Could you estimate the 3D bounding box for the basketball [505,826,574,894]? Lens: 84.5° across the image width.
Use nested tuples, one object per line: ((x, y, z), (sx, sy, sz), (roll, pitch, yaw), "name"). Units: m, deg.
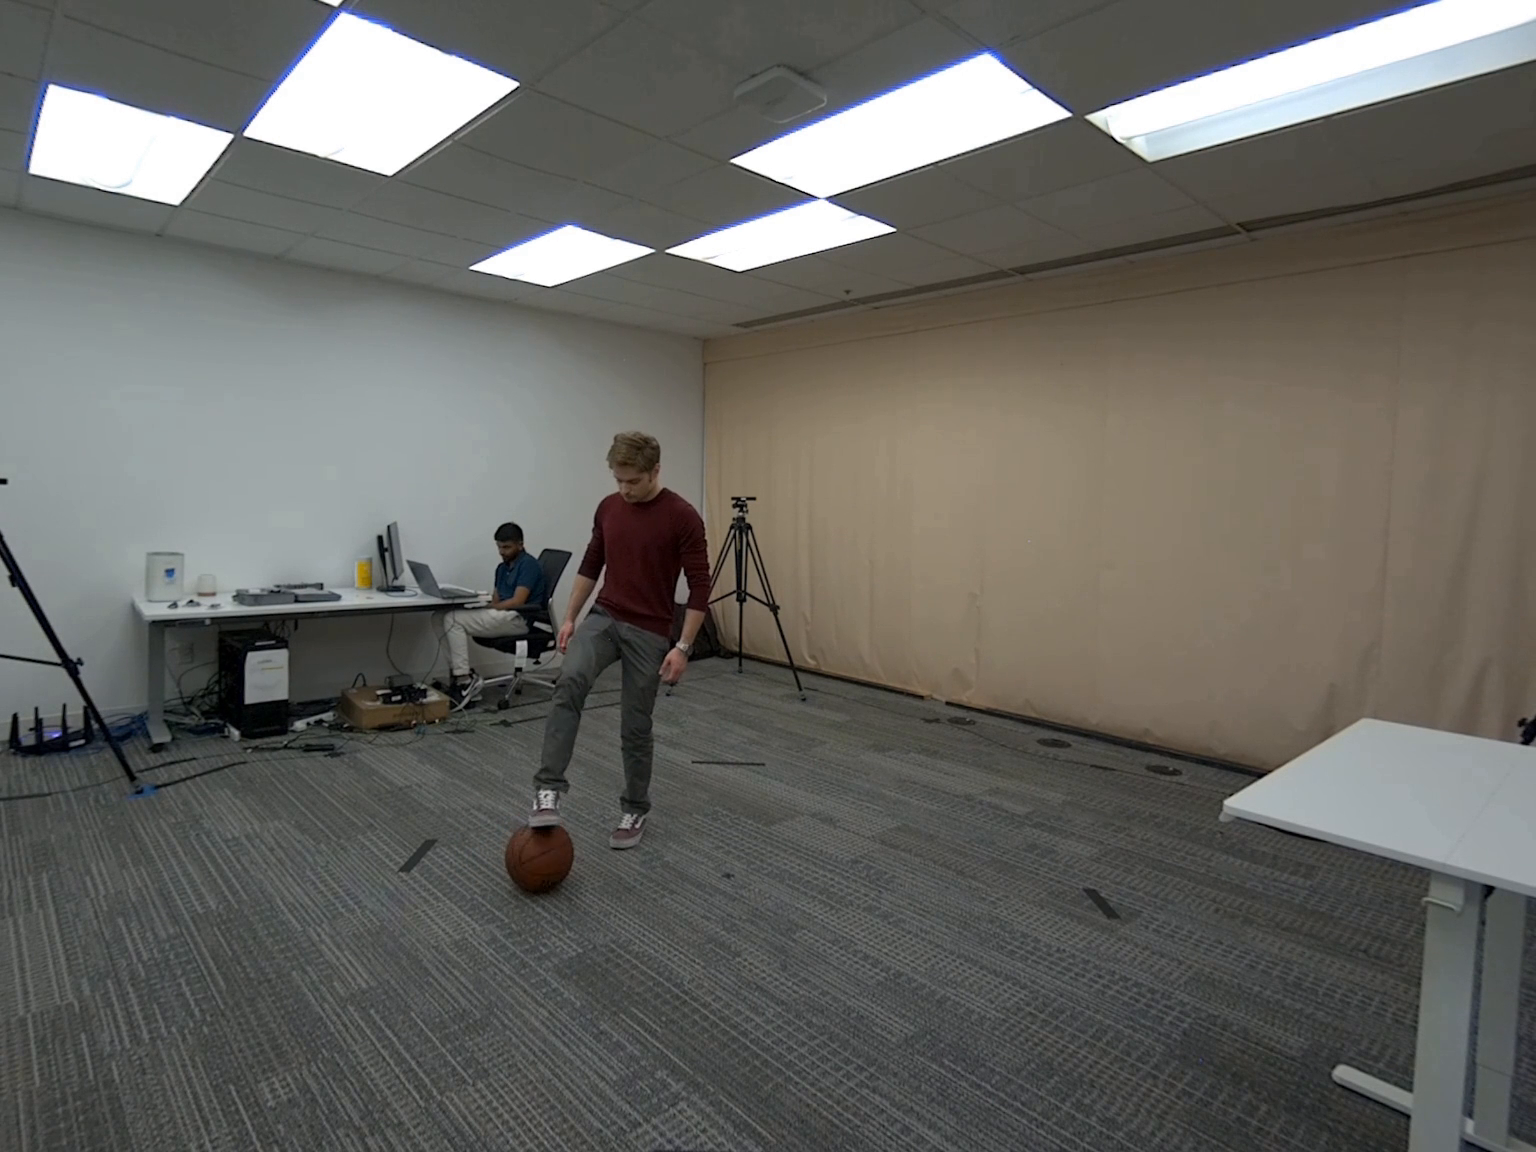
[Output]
((-0.814, 0.987, 2.964), (0.236, 0.235, 0.237), (1, 4, -1), "basketball")
